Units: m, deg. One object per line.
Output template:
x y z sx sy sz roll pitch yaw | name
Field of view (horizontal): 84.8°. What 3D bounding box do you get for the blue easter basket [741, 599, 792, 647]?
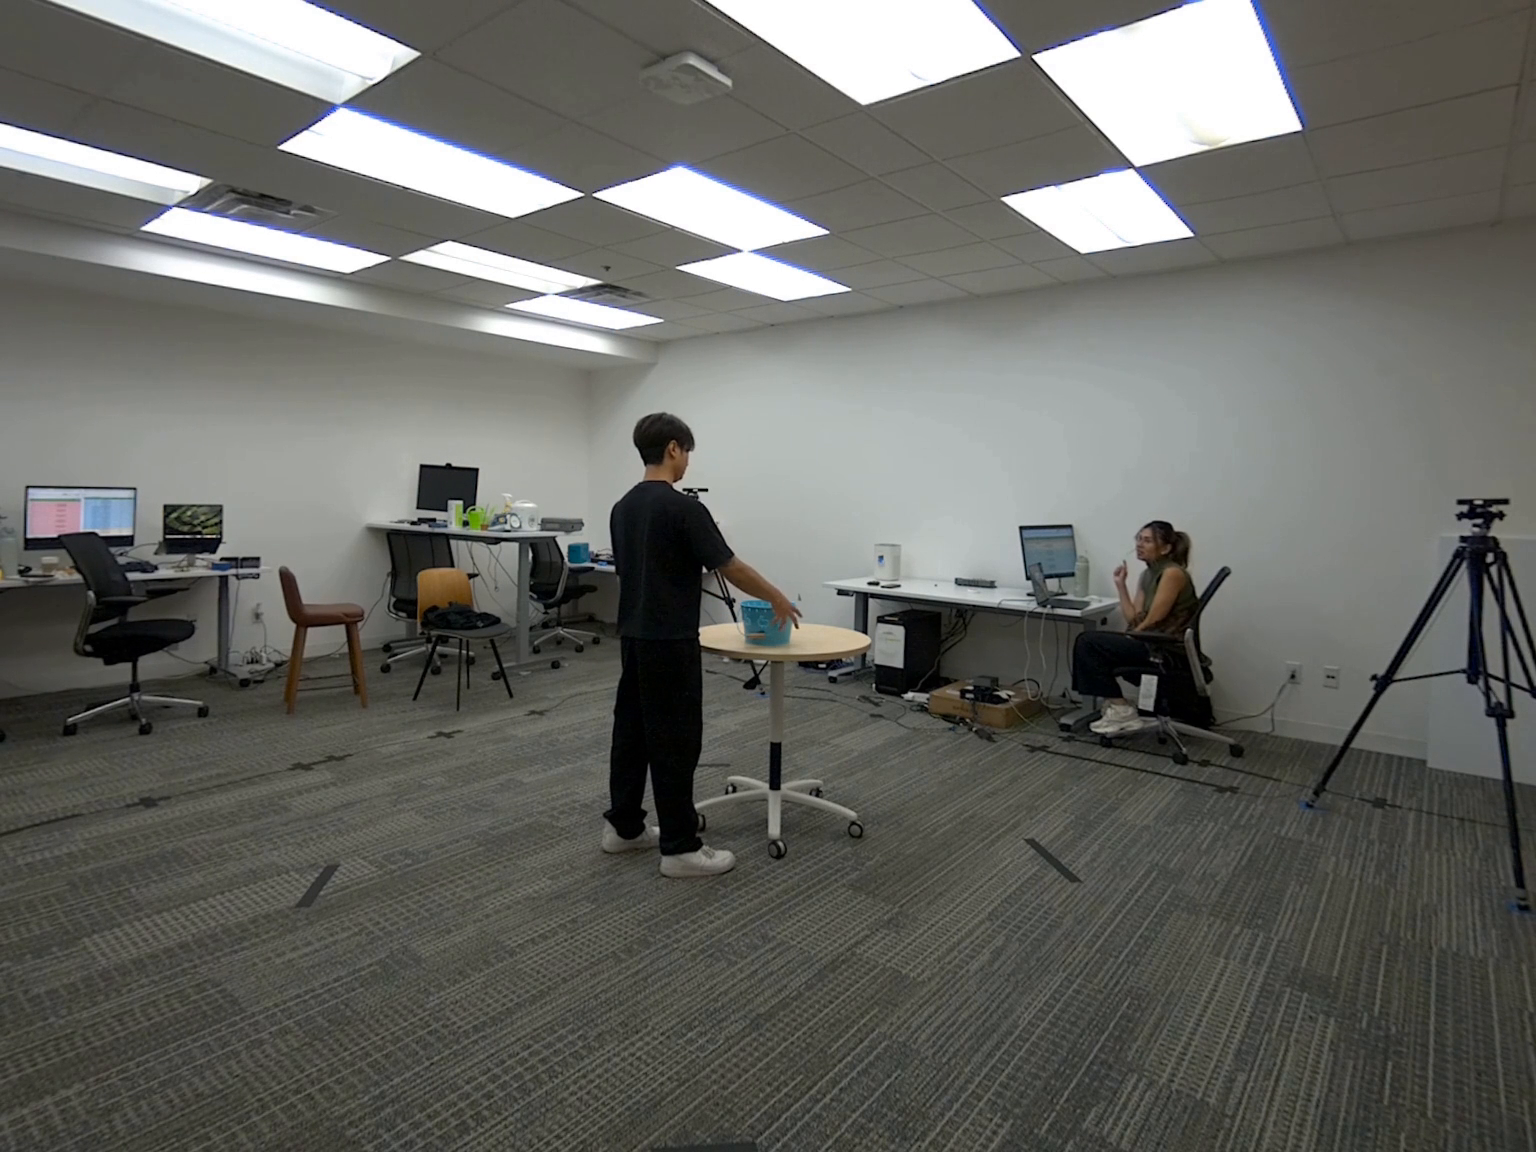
-0.017 0.185 3.437 0.243 0.155 0.245 2 5 -2 | blue easter basket
